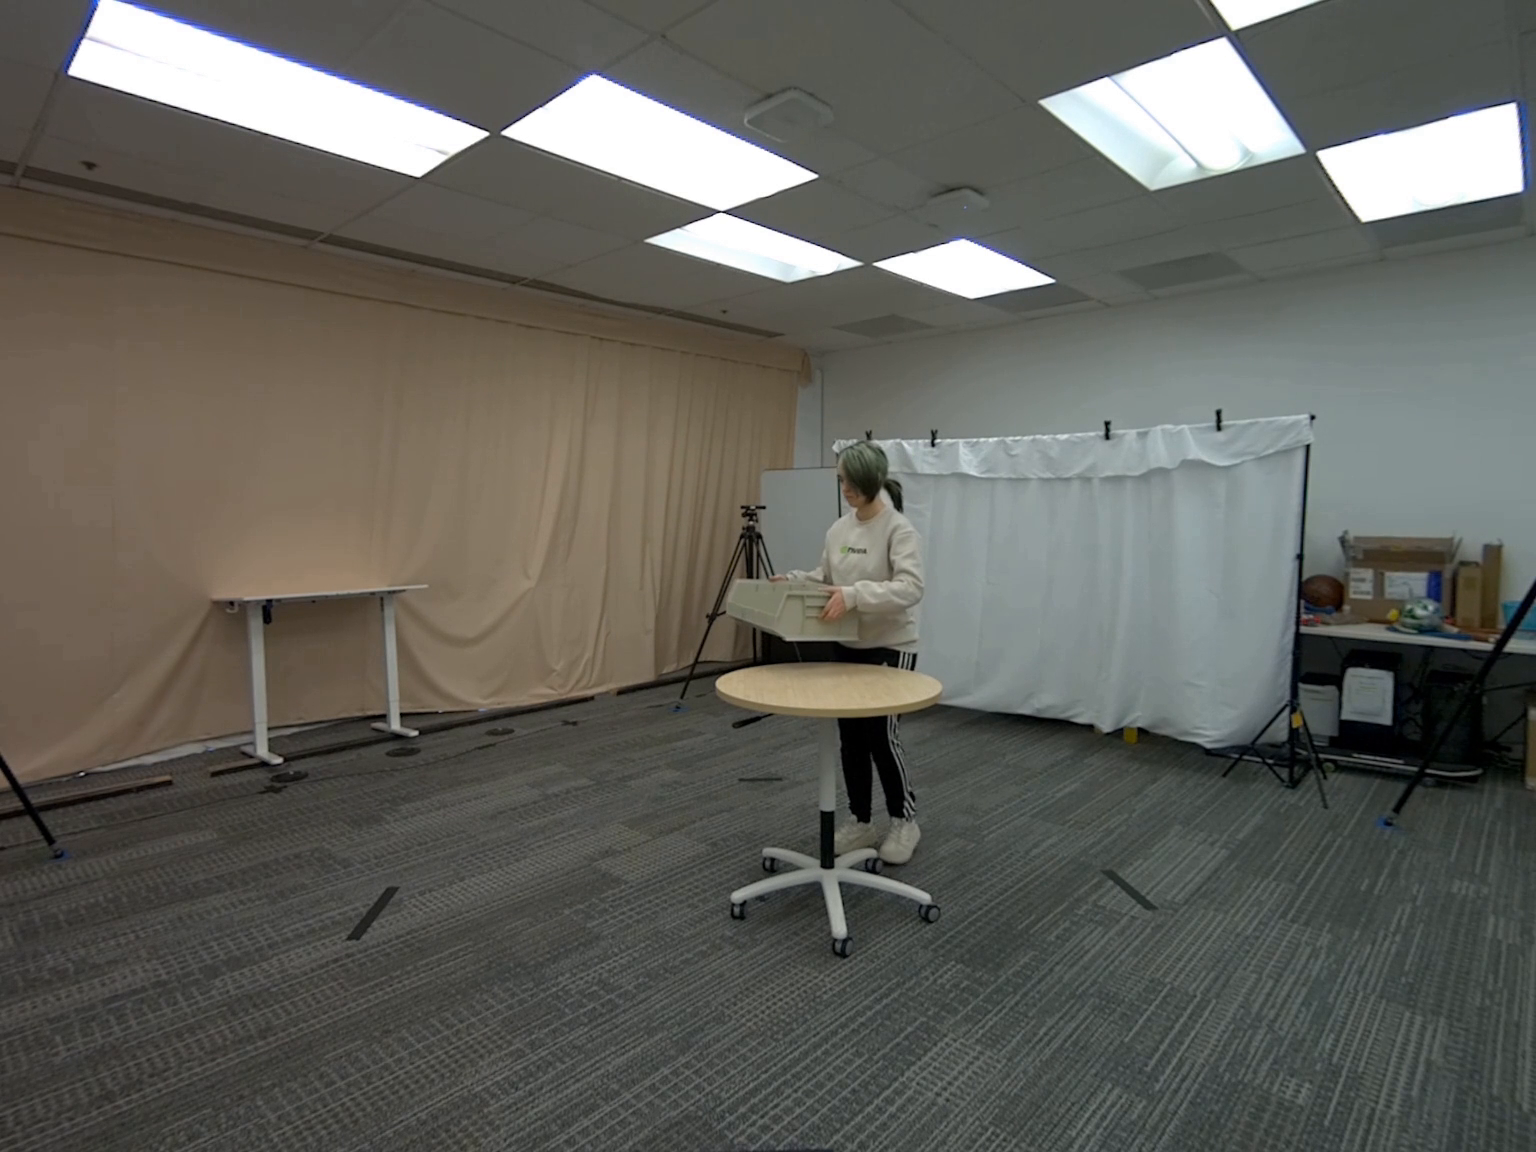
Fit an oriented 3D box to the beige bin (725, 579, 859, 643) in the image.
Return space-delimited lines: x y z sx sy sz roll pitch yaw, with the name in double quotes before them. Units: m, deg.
"beige bin" 0.093 0.134 3.257 0.368 0.188 0.434 3 4 -26
